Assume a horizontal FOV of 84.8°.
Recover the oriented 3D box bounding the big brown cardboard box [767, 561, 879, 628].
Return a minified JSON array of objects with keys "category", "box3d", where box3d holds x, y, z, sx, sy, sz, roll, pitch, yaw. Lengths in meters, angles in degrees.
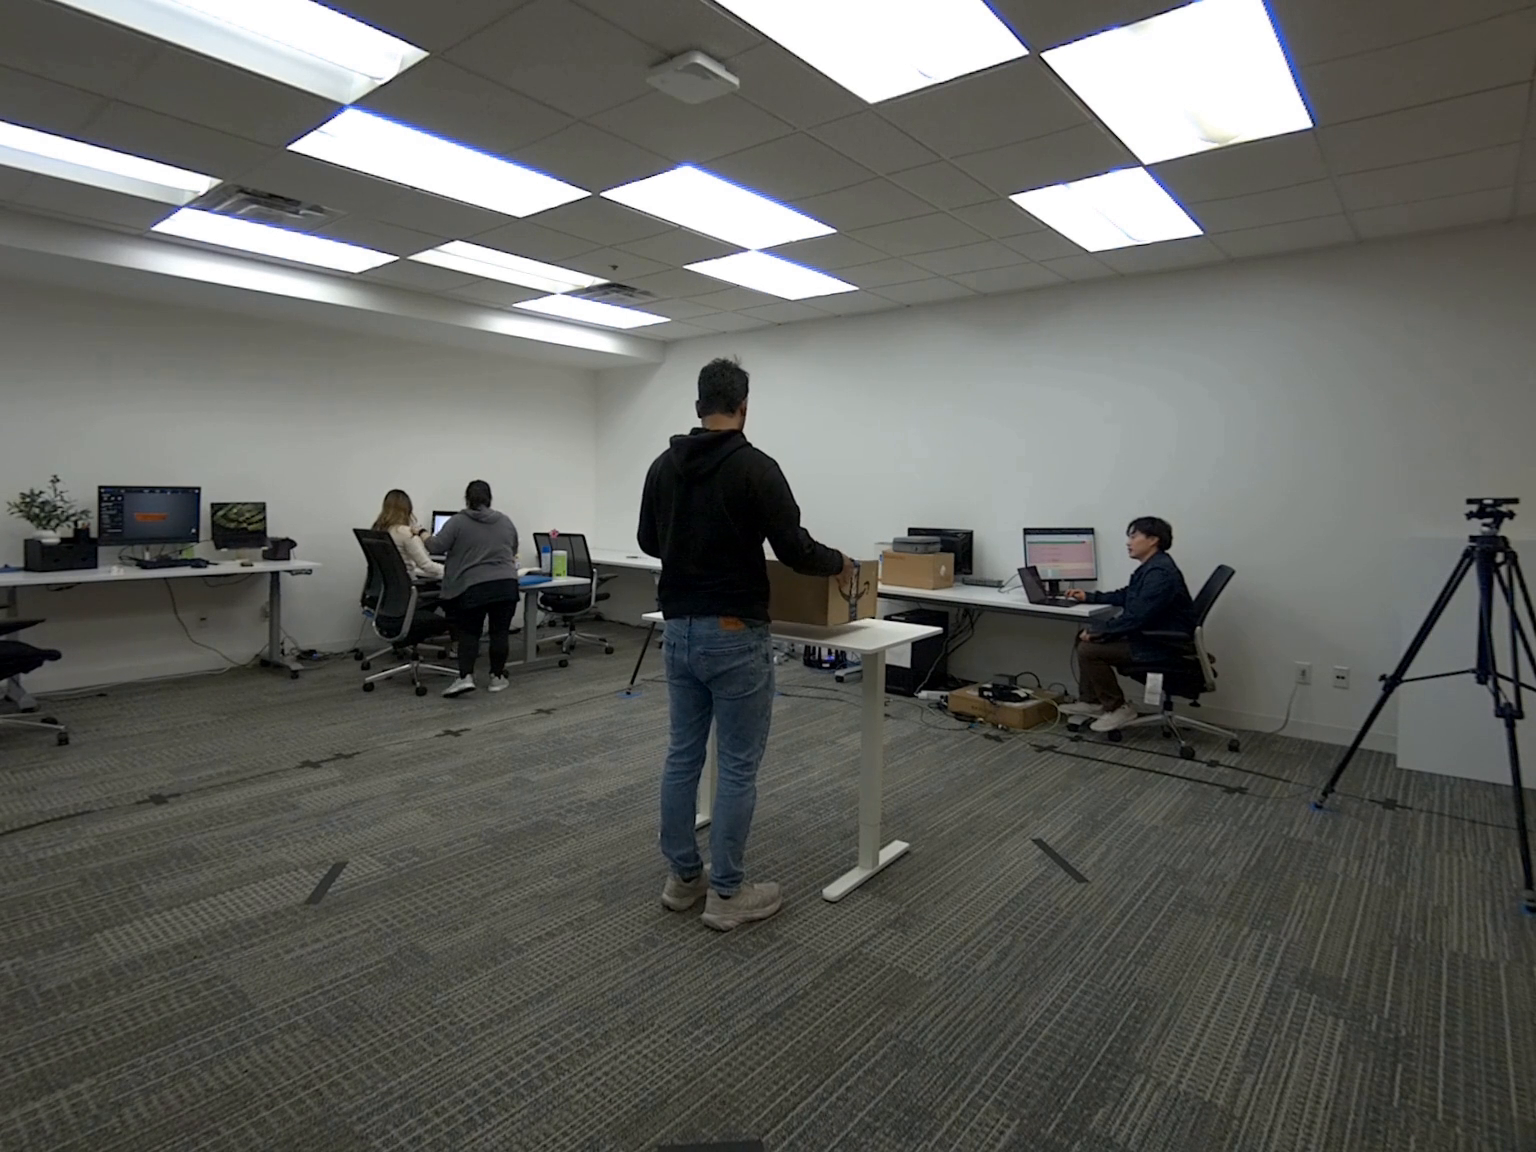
[{"category":"big brown cardboard box","box3d":[0.054,0.023,3.177,0.607,0.232,0.406,4,5,31]}]
